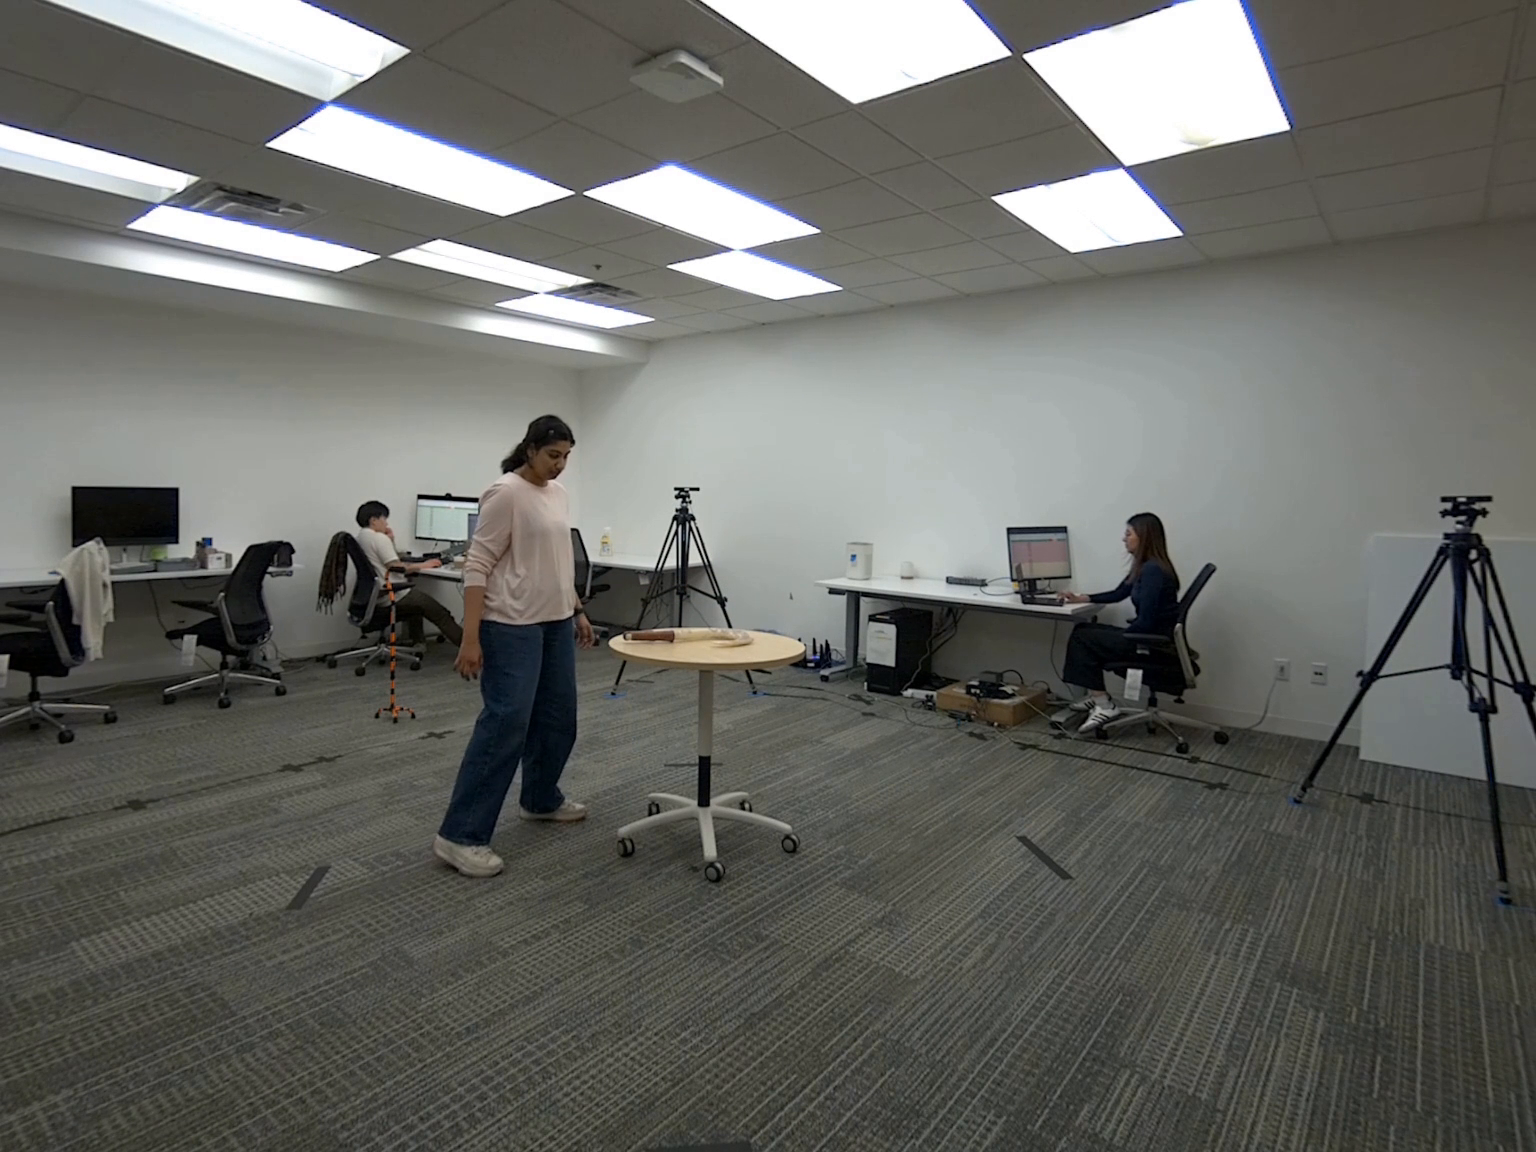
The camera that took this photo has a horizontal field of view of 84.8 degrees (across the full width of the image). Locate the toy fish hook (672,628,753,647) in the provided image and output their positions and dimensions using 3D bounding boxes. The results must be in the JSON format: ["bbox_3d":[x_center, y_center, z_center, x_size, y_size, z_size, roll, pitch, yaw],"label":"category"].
[{"bbox_3d":[-0.314,0.243,3.313,0.497,0.048,0.229,0,5,-18],"label":"toy fish hook"}]
